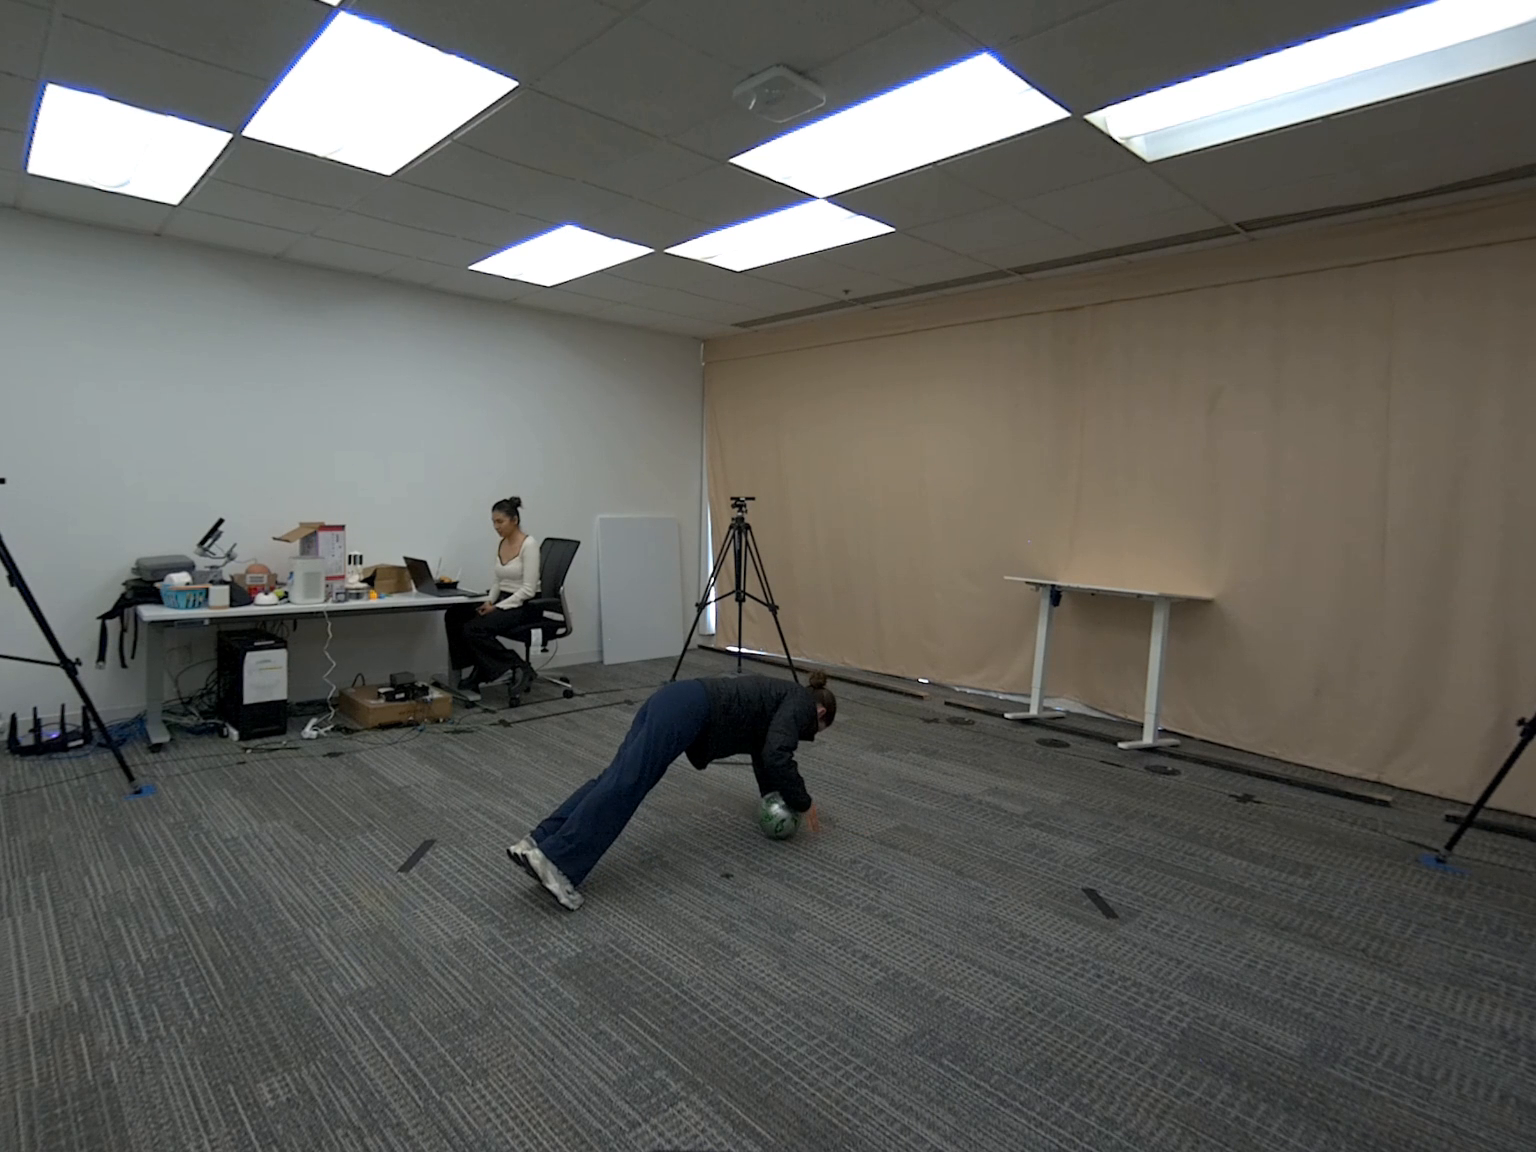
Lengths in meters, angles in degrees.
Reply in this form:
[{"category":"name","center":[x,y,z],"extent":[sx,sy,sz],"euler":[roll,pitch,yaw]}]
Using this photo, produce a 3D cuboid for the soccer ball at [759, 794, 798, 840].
[{"category":"soccer ball","center":[0.034,0.981,3.474],"extent":[0.187,0.187,0.188],"euler":[1,4,-1]}]
